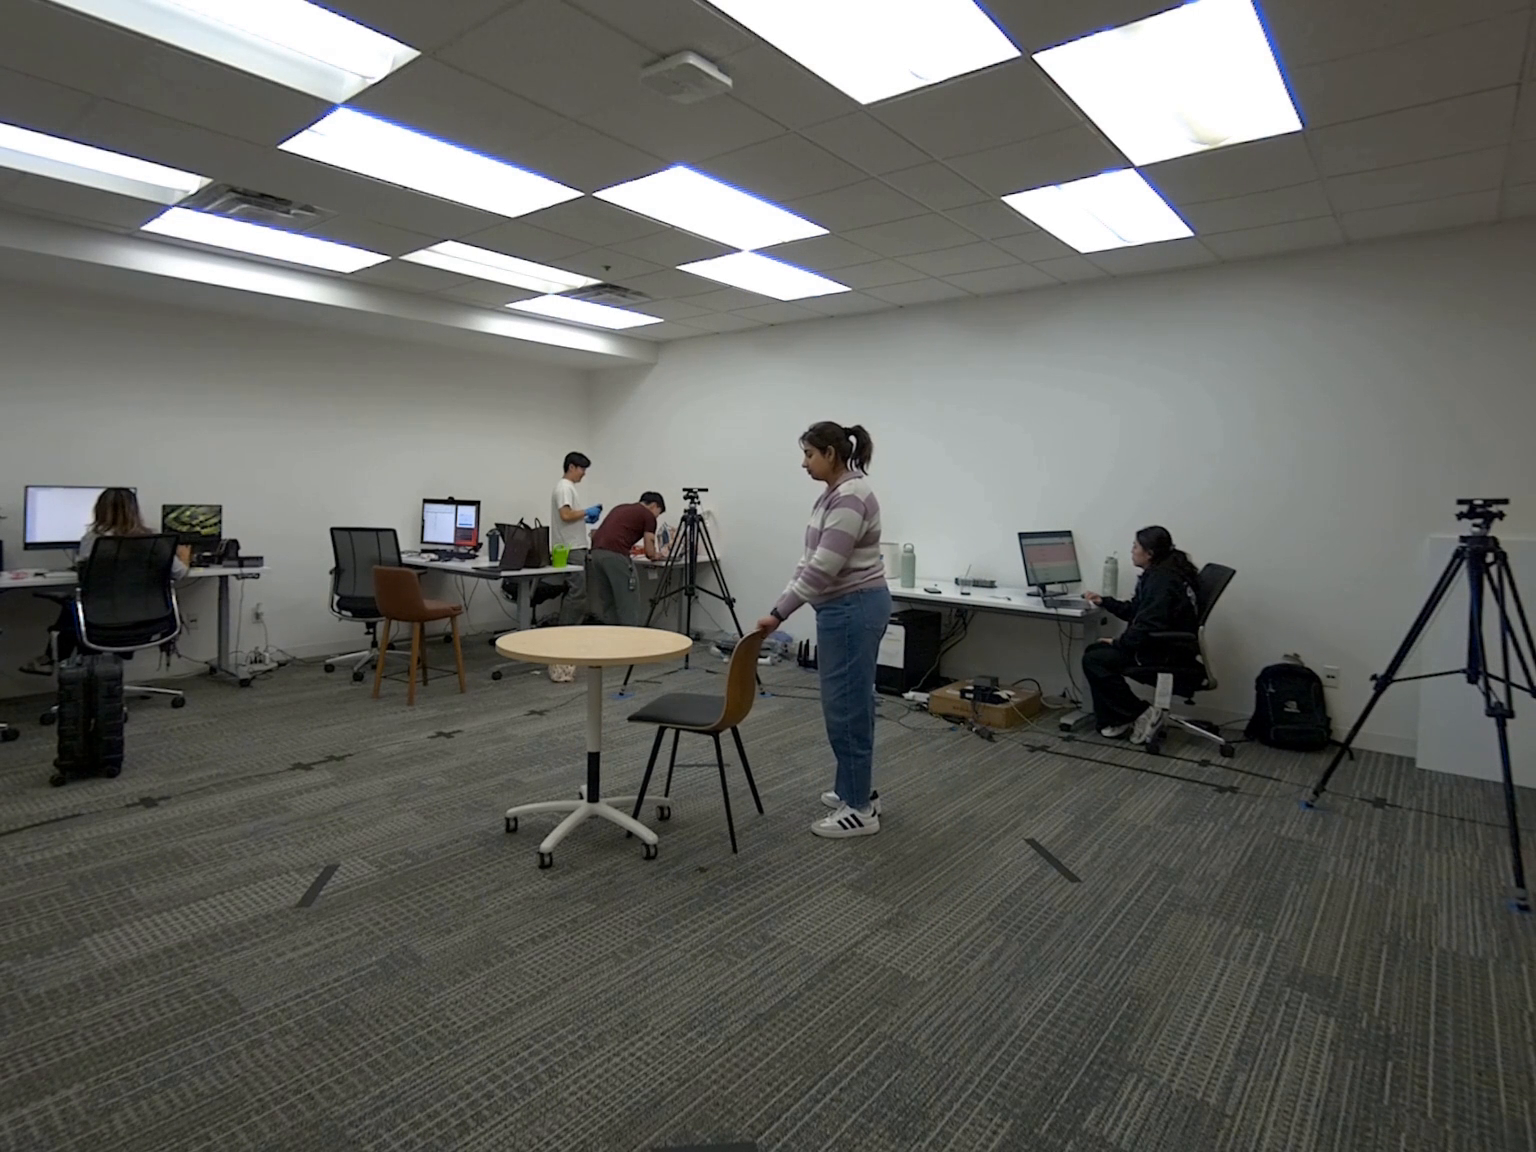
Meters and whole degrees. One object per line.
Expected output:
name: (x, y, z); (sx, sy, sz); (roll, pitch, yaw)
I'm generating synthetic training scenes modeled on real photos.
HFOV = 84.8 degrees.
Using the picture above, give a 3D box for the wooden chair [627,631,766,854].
wooden chair: (-0.300, 0.606, 3.490); (0.533, 0.874, 0.471); (6, 4, 16)
